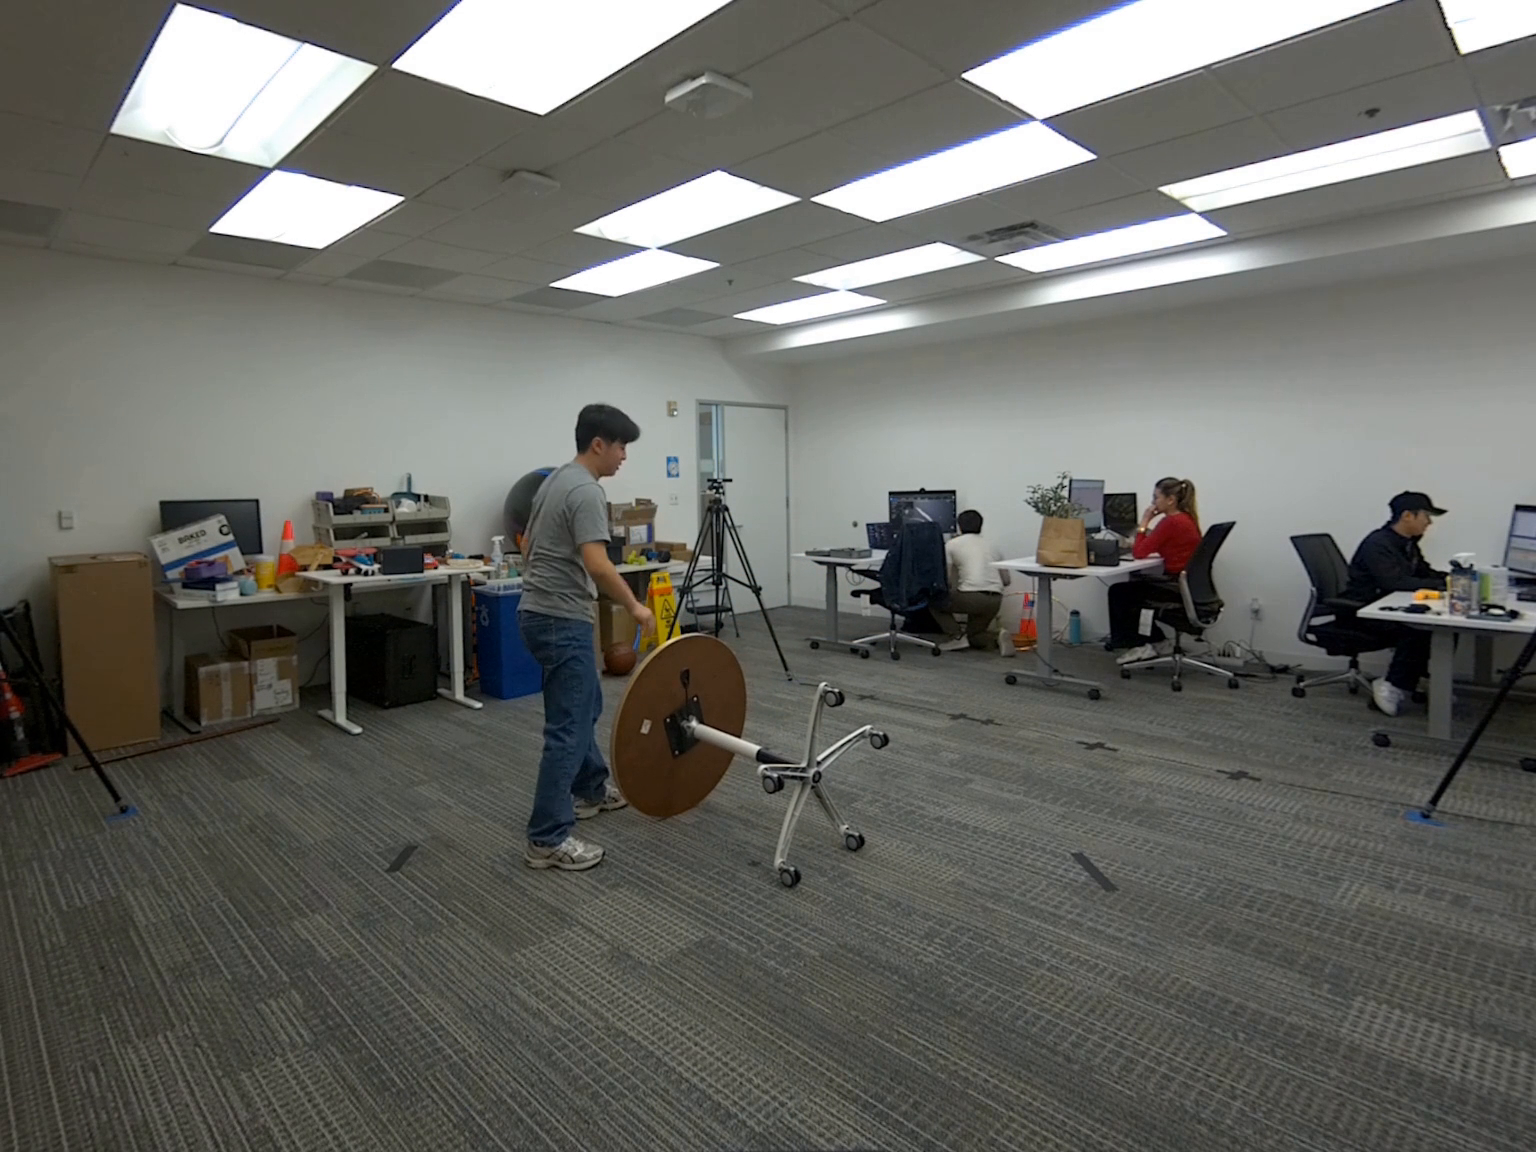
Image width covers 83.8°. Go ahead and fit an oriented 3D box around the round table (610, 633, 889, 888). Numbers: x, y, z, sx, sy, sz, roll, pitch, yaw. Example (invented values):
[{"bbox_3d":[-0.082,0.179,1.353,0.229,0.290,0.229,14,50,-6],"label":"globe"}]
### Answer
[{"bbox_3d":[-0.057,0.680,3.296,0.821,0.759,0.744,11,11,41],"label":"round table"}]
